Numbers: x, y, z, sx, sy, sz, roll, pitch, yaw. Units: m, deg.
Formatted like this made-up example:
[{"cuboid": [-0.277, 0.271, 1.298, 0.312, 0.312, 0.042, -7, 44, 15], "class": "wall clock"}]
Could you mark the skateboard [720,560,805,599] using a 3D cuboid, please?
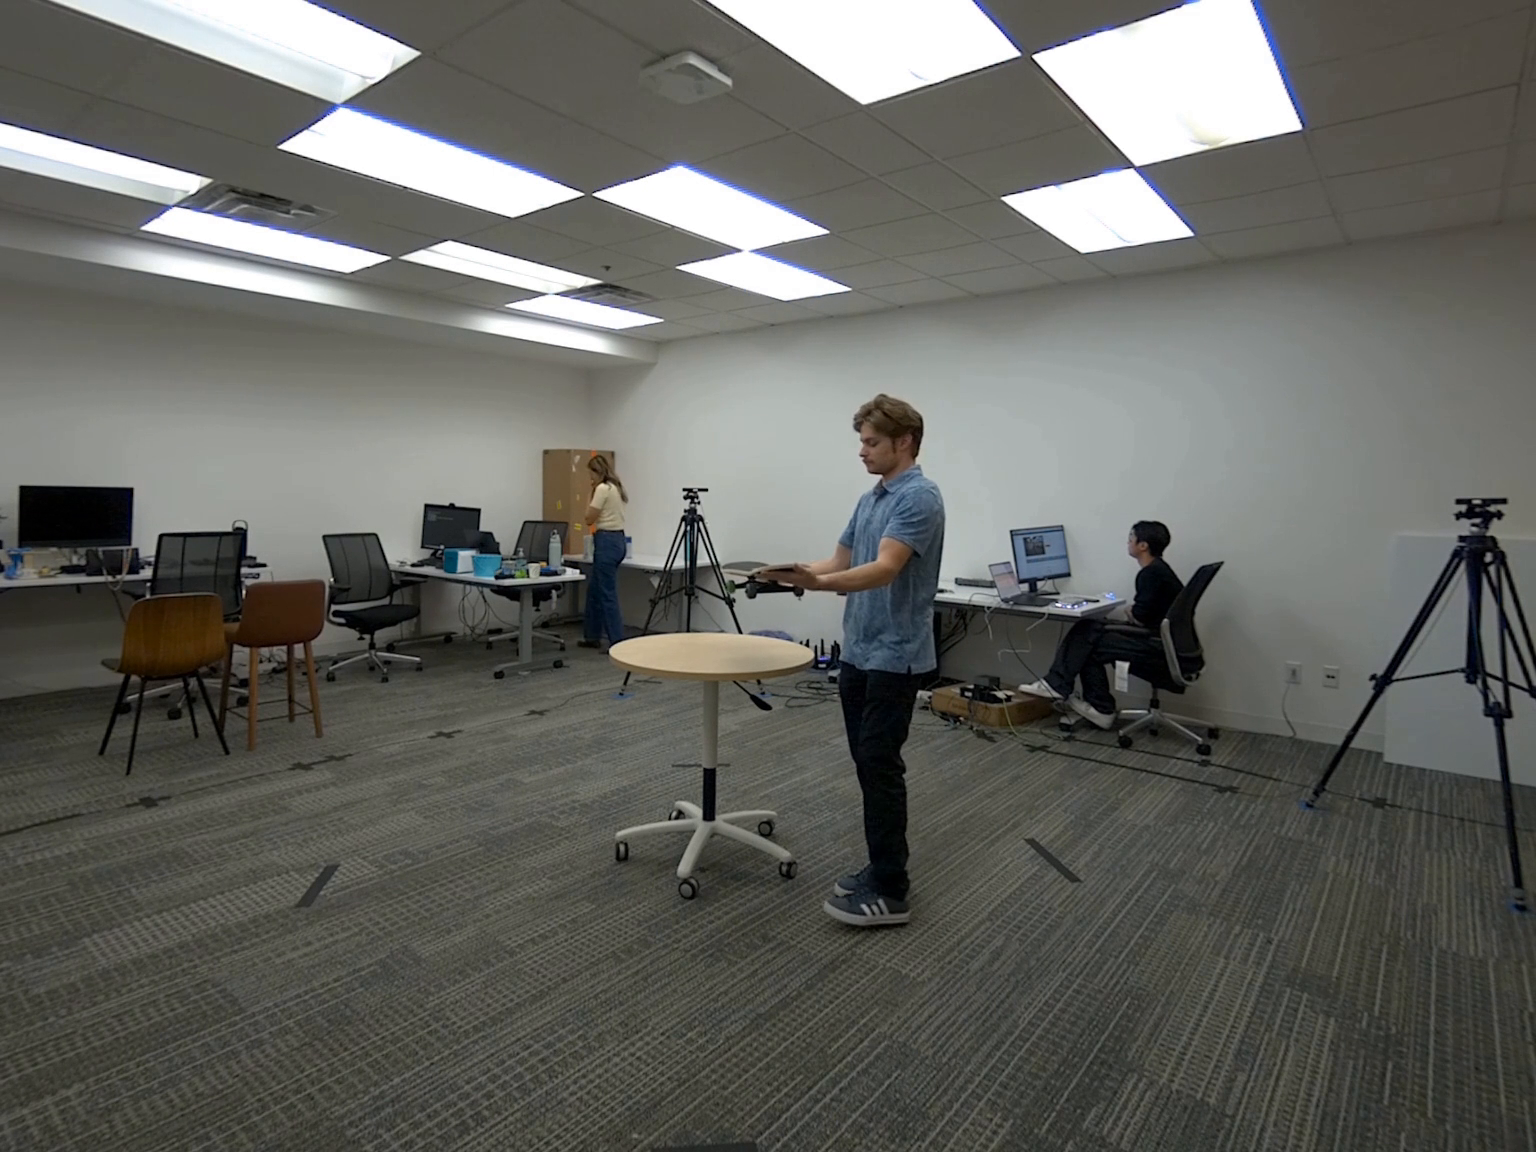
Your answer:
[{"cuboid": [-0.033, 0.013, 2.885, 0.191, 0.110, 0.794, -1, 1, -13], "class": "skateboard"}]
